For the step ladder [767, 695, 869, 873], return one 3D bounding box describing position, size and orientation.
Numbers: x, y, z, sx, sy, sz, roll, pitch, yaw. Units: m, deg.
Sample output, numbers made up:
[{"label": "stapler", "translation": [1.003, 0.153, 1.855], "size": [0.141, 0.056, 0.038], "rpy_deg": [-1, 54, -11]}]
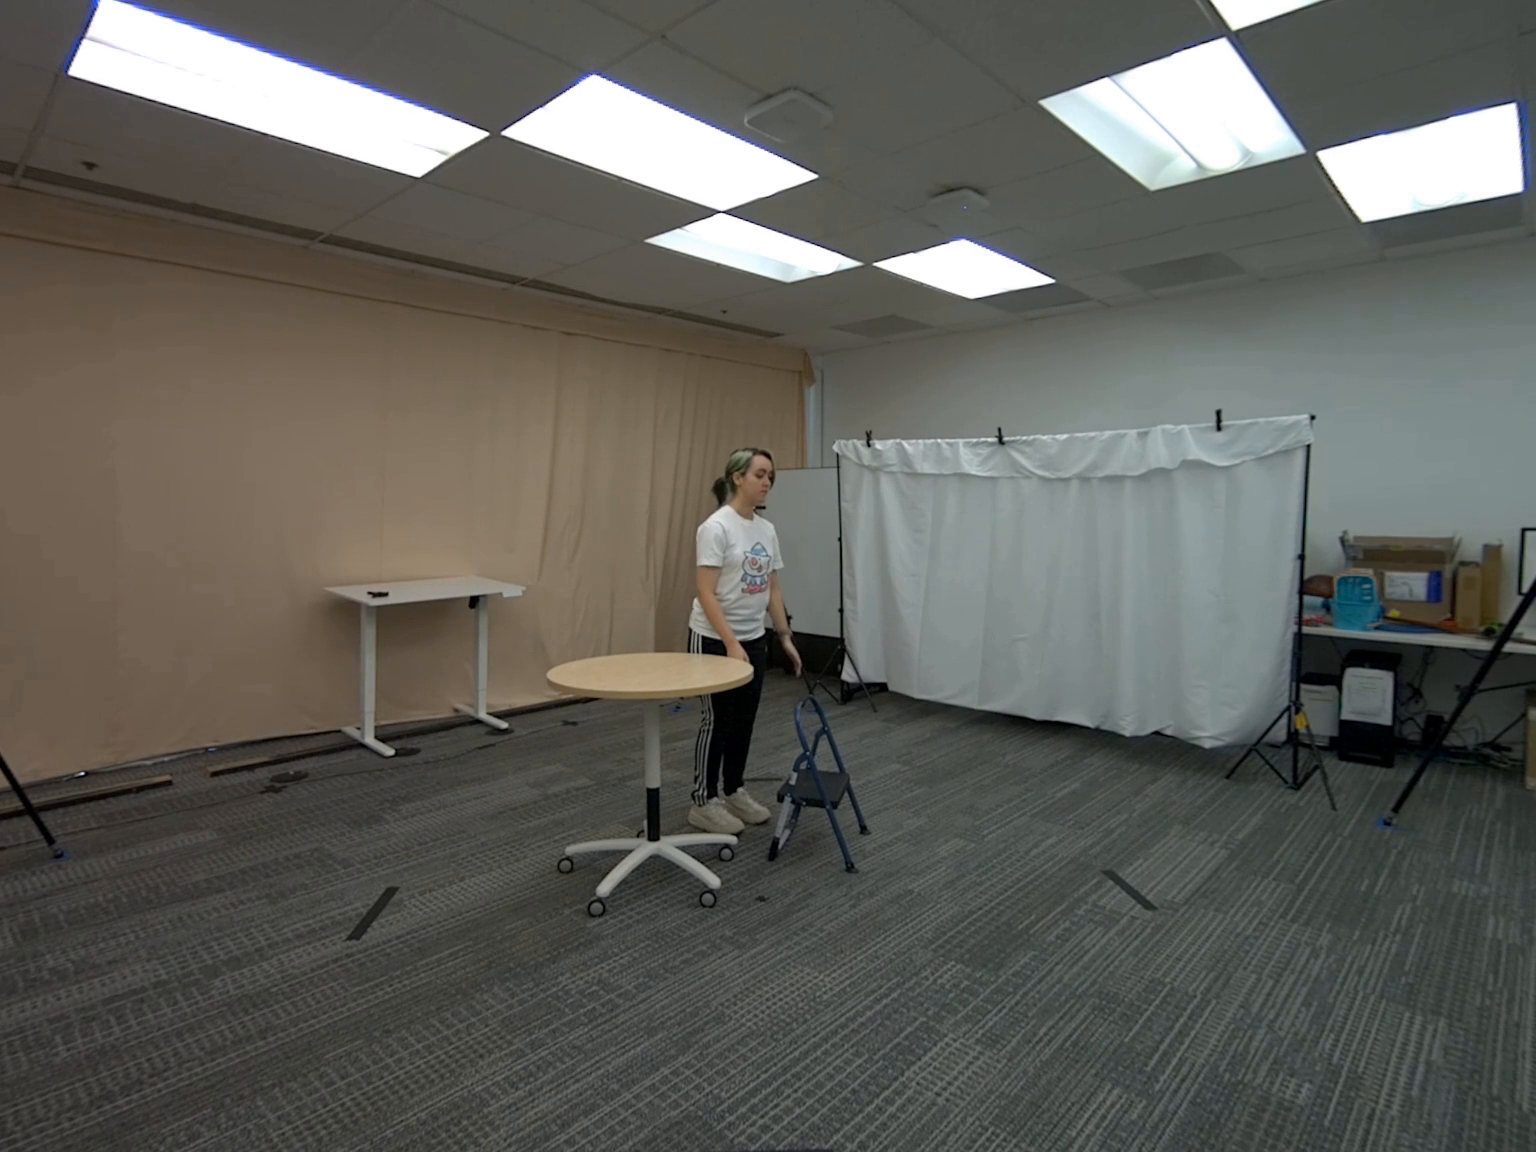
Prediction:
[{"label": "step ladder", "translation": [0.215, 0.802, 3.423], "size": [0.355, 0.605, 0.424], "rpy_deg": [2, 4, 15]}]
